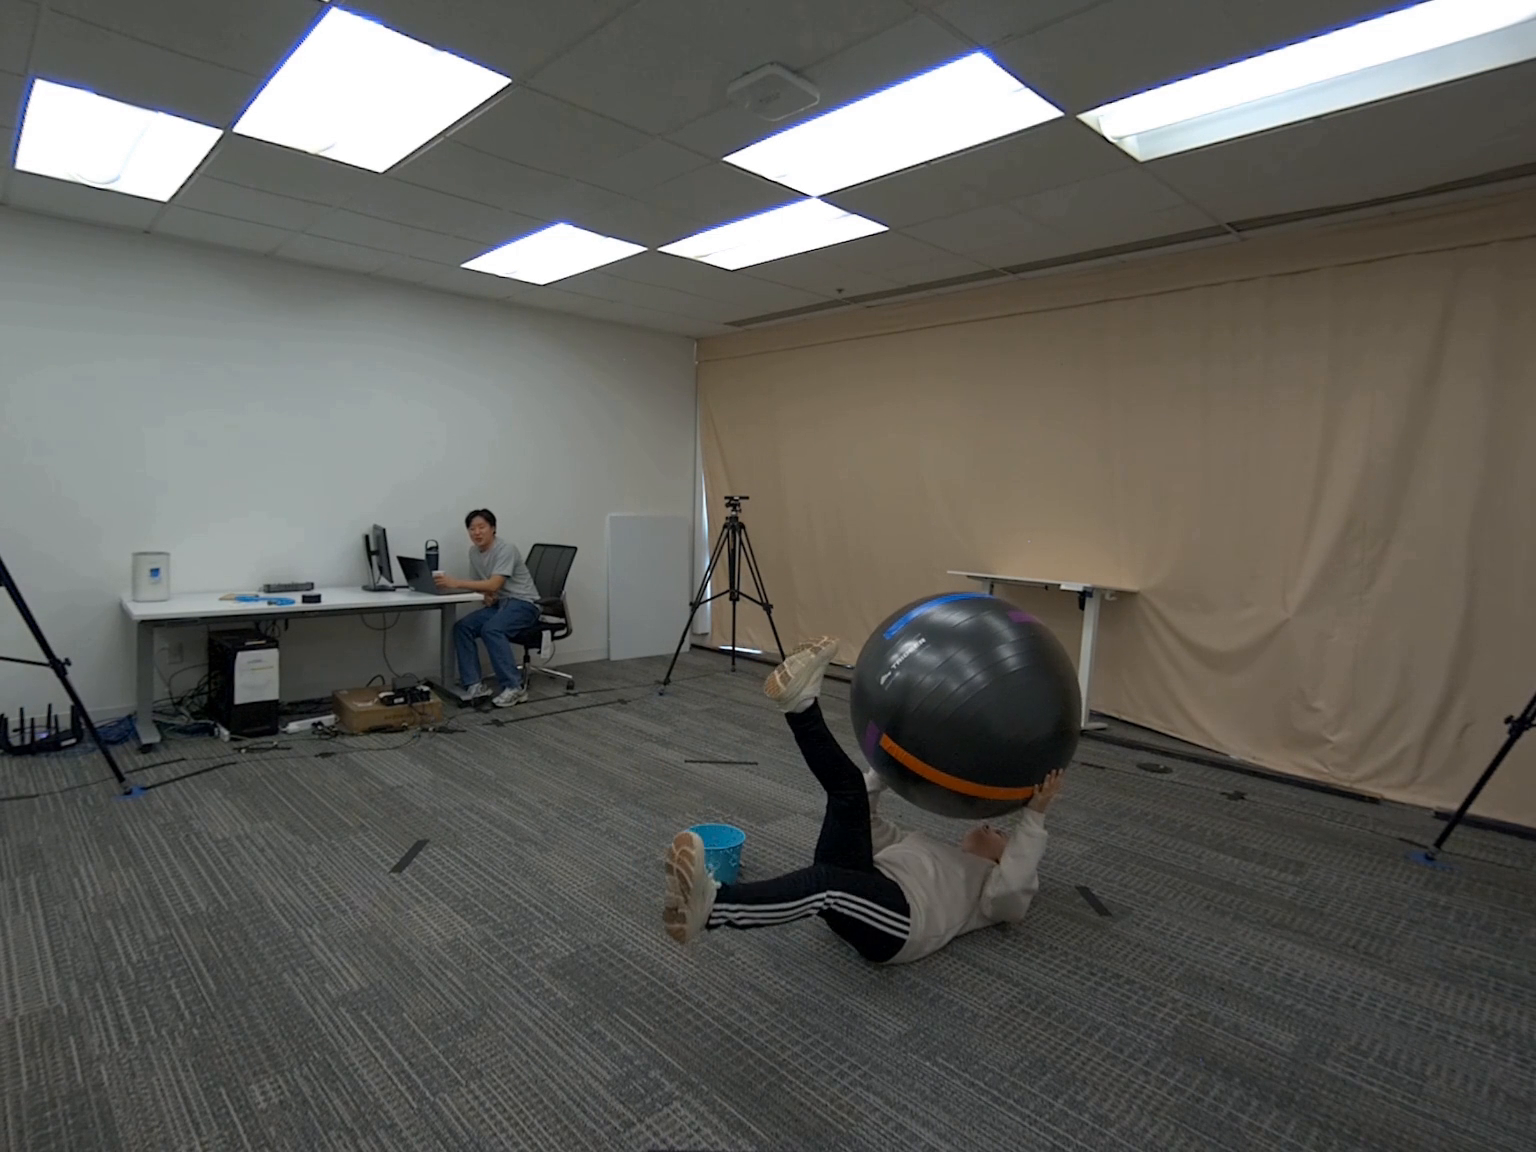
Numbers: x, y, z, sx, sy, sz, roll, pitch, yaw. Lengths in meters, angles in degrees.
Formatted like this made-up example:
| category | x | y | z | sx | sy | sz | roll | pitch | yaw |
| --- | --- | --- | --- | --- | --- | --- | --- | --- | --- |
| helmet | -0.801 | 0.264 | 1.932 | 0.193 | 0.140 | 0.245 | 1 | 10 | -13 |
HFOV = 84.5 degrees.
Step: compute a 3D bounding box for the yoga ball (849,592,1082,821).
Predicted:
| category | x | y | z | sx | sy | sz | roll | pitch | yaw |
| --- | --- | --- | --- | --- | --- | --- | --- | --- | --- |
| yoga ball | 0.666 | 0.435 | 2.863 | 0.757 | 0.756 | 0.761 | 1 | 4 | -1 |
